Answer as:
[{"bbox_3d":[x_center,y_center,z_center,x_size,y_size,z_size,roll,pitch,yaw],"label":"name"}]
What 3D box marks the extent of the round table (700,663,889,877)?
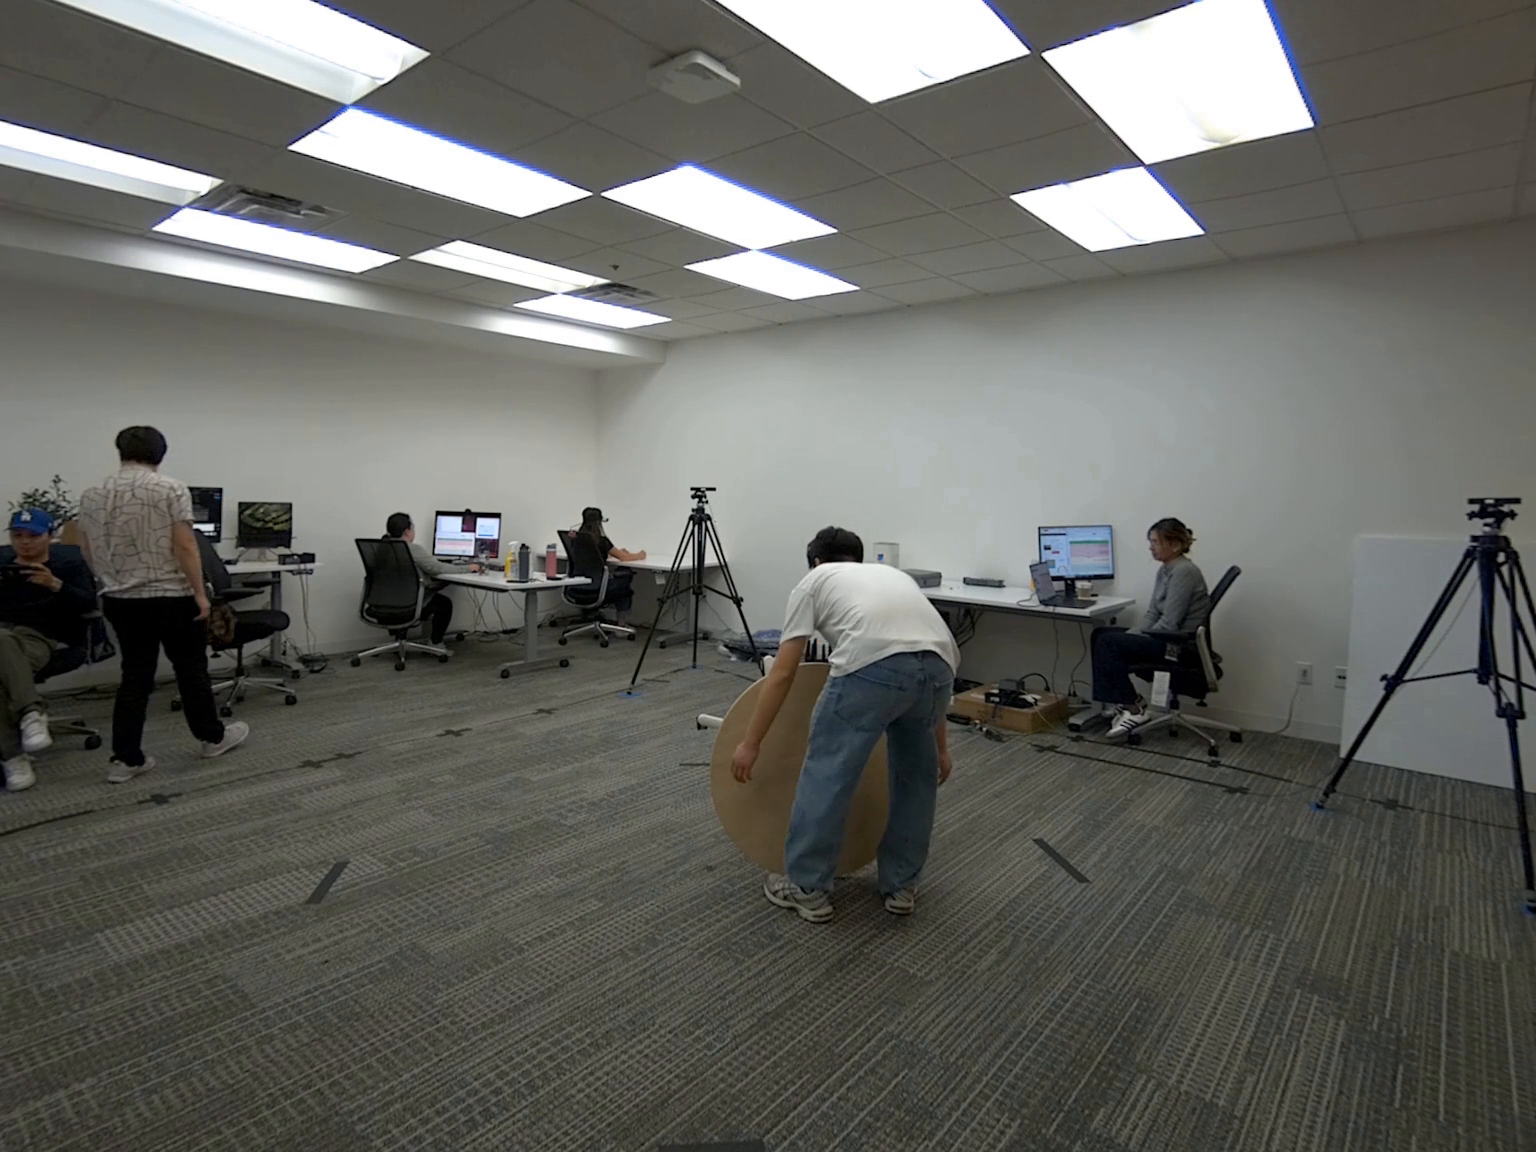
[{"bbox_3d":[0.077,0.691,3.440,0.777,0.787,0.793,0,-2,-11],"label":"round table"}]
